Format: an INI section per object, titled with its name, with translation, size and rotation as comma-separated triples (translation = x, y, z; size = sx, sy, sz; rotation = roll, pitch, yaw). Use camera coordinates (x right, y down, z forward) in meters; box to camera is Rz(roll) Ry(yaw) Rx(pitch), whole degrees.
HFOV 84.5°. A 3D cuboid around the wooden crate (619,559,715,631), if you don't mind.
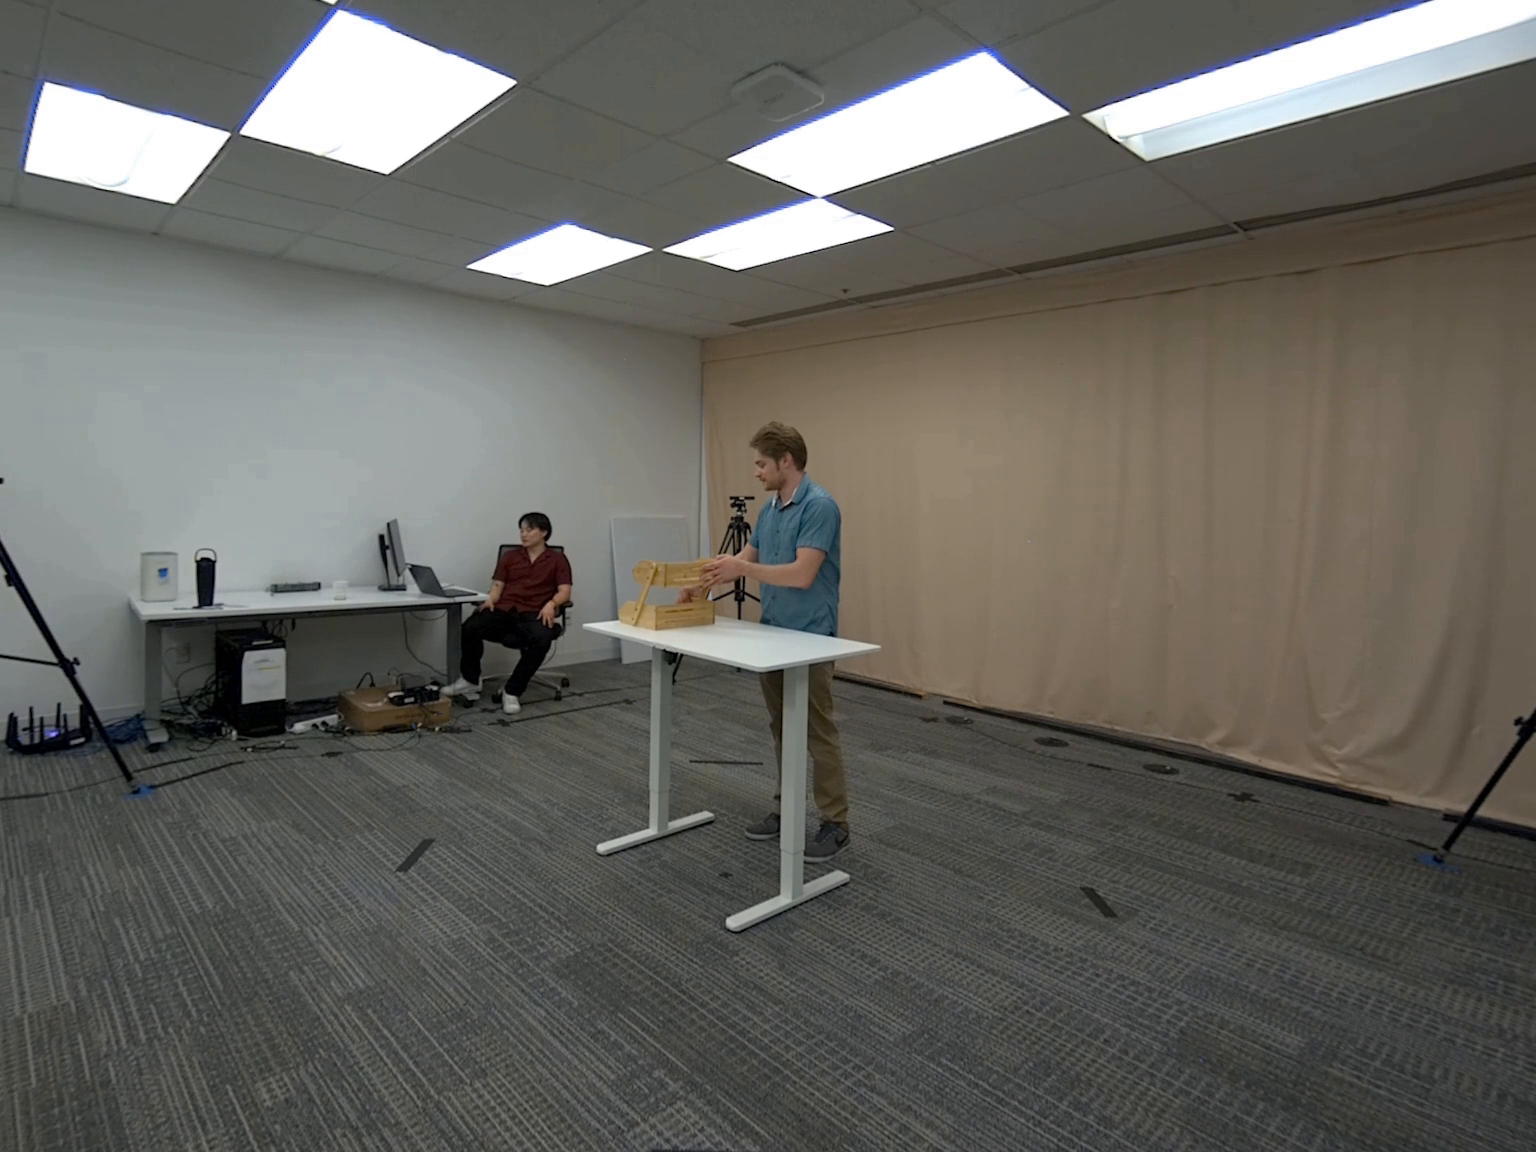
[wooden crate]
translation = -0.395, 0.058, 3.347
size = 0.317, 0.272, 0.310
rotation = -2, 7, -44
